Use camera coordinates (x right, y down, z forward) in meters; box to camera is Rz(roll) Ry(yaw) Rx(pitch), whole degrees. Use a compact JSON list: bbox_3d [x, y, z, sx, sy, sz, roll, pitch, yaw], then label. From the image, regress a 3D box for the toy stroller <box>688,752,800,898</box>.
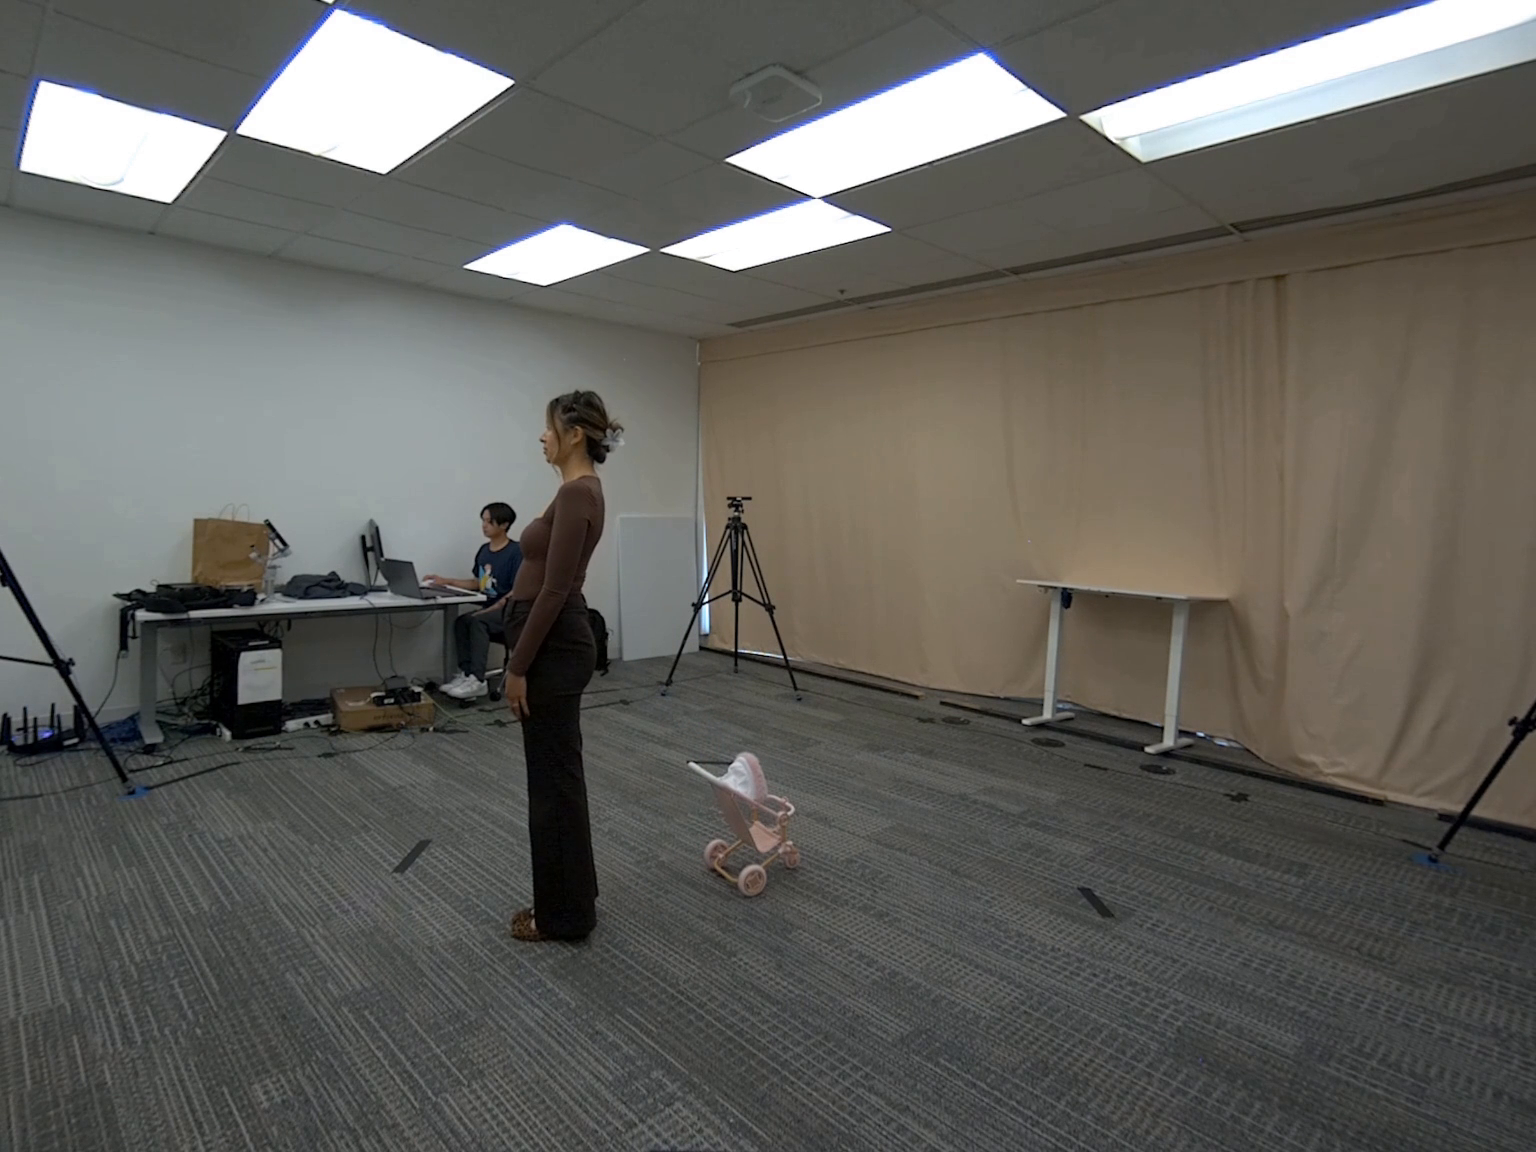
[{"bbox_3d":[-0.070,0.882,3.075,0.337,0.530,0.287,-17,11,-26],"label":"toy stroller"}]
